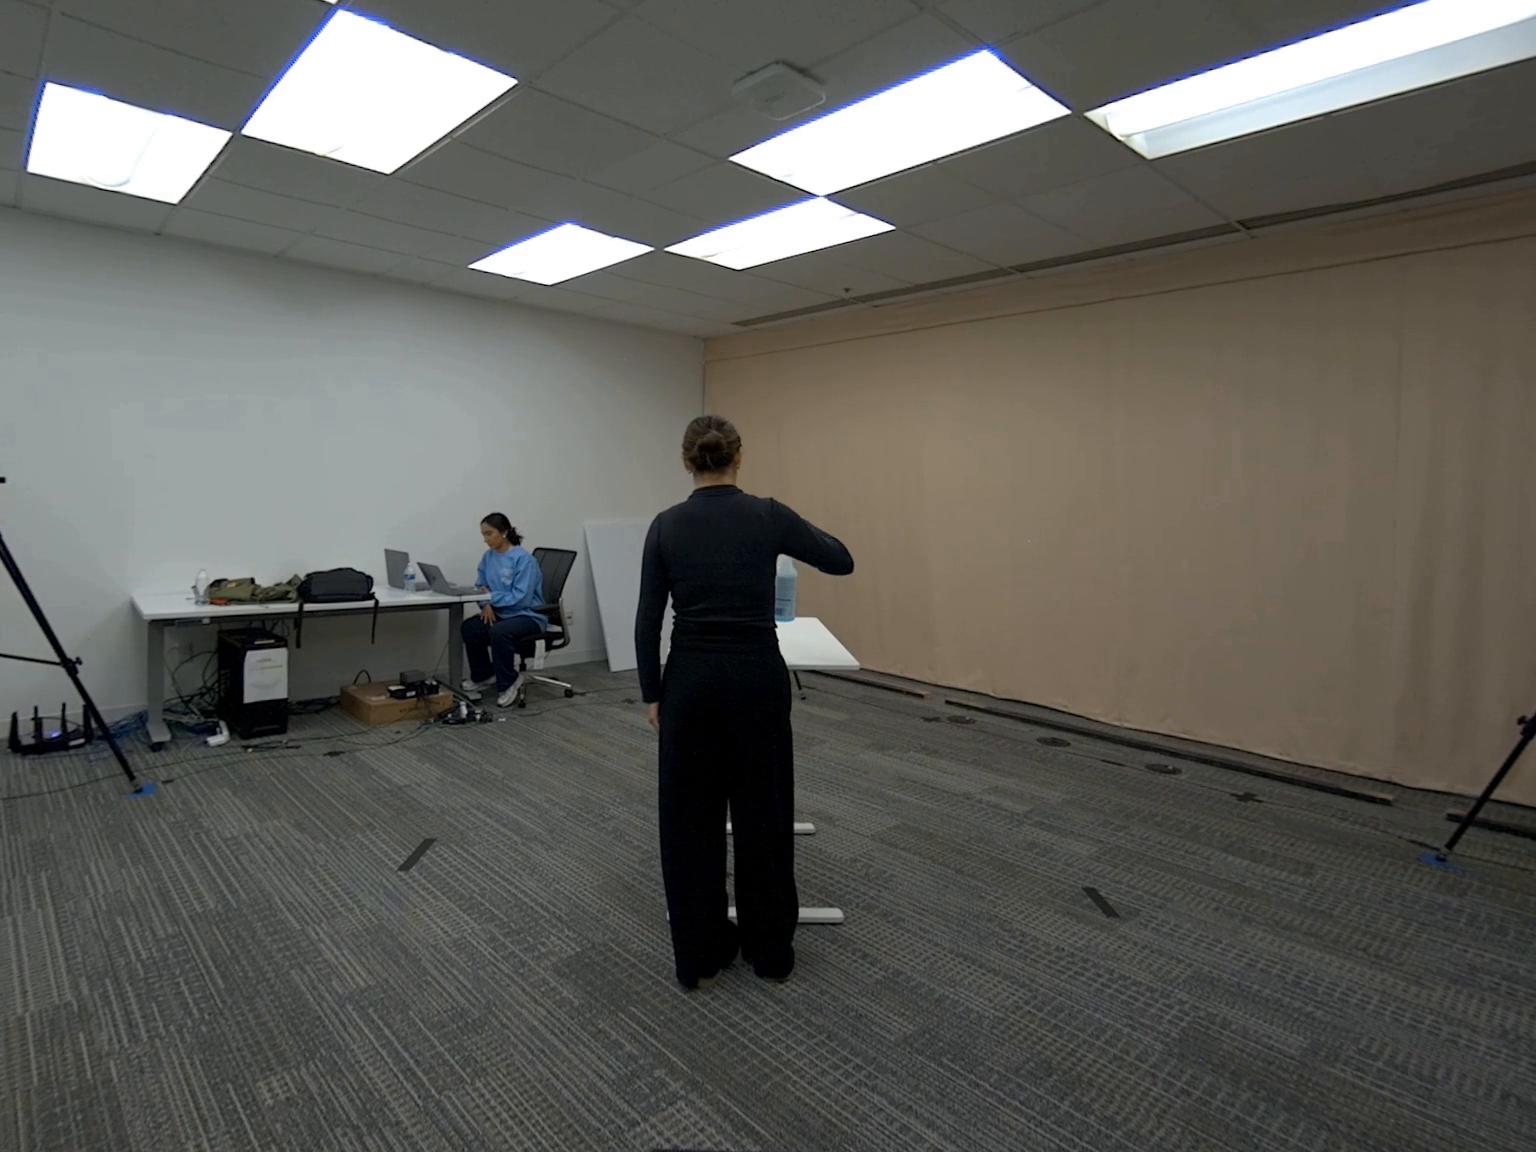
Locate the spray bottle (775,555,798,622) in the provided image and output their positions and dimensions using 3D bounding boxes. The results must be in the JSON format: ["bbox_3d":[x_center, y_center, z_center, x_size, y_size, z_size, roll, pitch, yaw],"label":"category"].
[{"bbox_3d":[0.045,0.002,2.685,0.086,0.295,0.091,1,9,-13],"label":"spray bottle"}]
